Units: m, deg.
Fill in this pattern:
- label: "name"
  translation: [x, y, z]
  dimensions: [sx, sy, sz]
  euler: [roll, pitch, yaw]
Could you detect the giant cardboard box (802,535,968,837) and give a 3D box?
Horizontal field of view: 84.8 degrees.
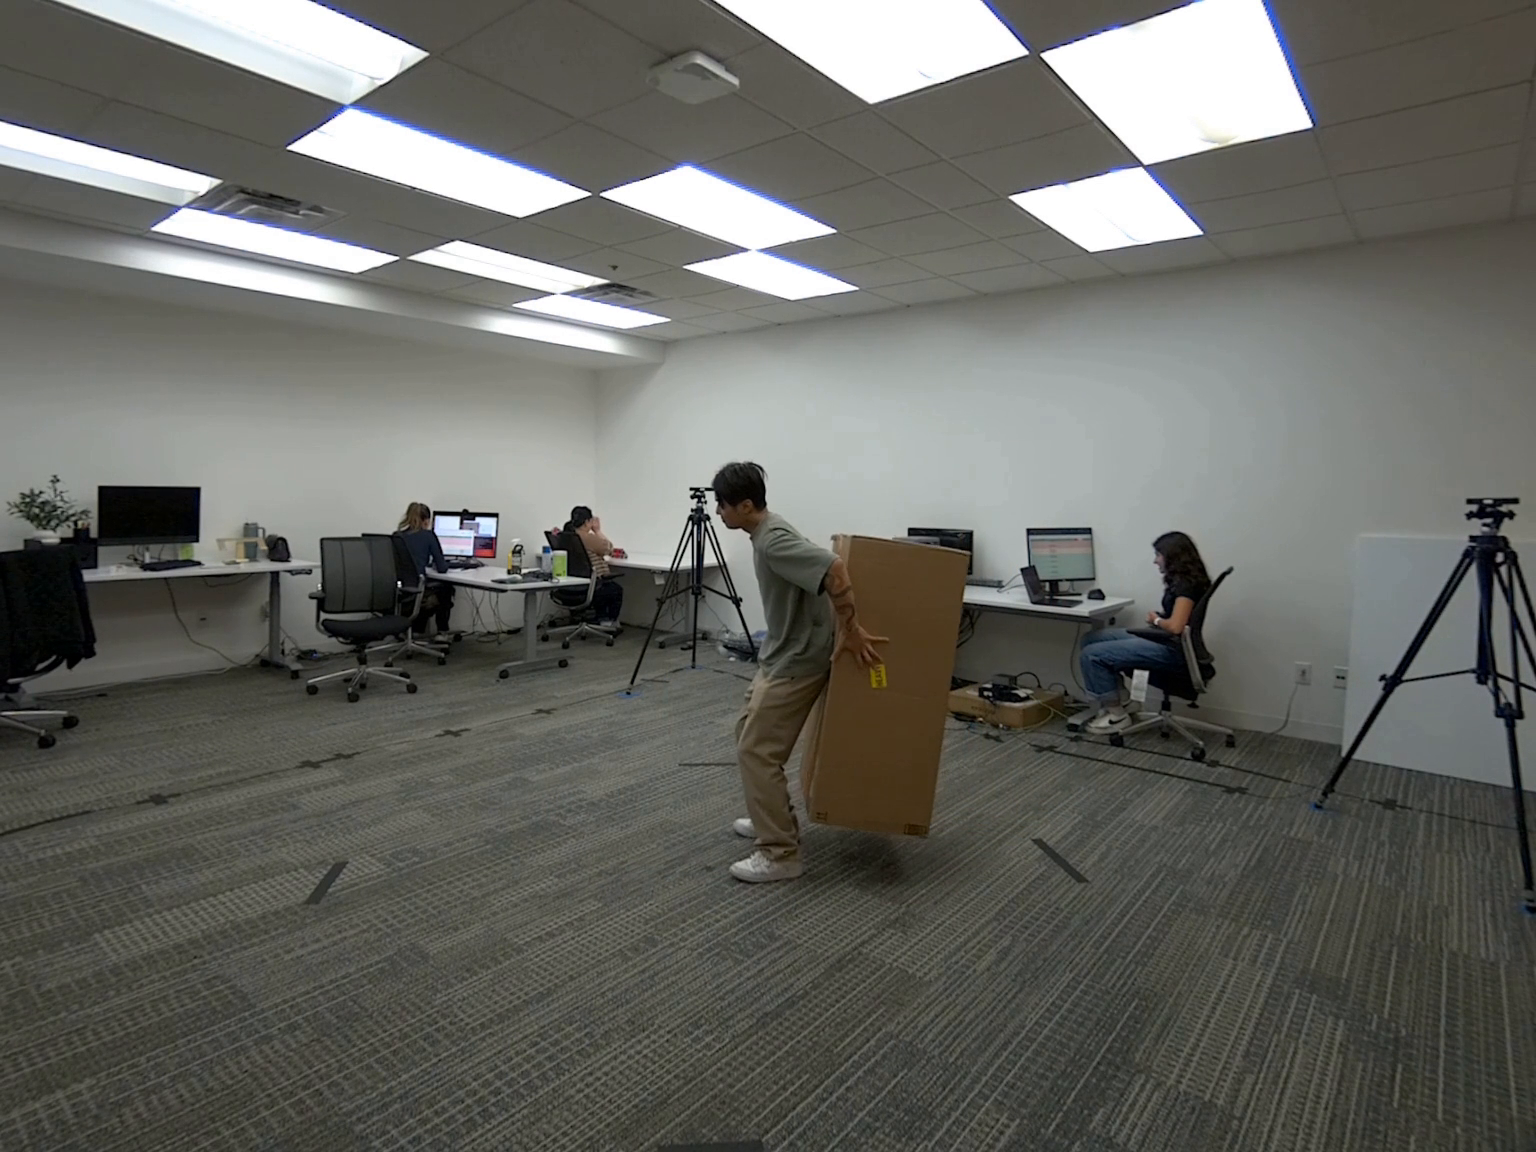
- label: "giant cardboard box"
  translation: [0.421, 0.376, 3.257]
  dimensions: [0.426, 1.025, 0.579]
  euler: [8, 2, -2]
